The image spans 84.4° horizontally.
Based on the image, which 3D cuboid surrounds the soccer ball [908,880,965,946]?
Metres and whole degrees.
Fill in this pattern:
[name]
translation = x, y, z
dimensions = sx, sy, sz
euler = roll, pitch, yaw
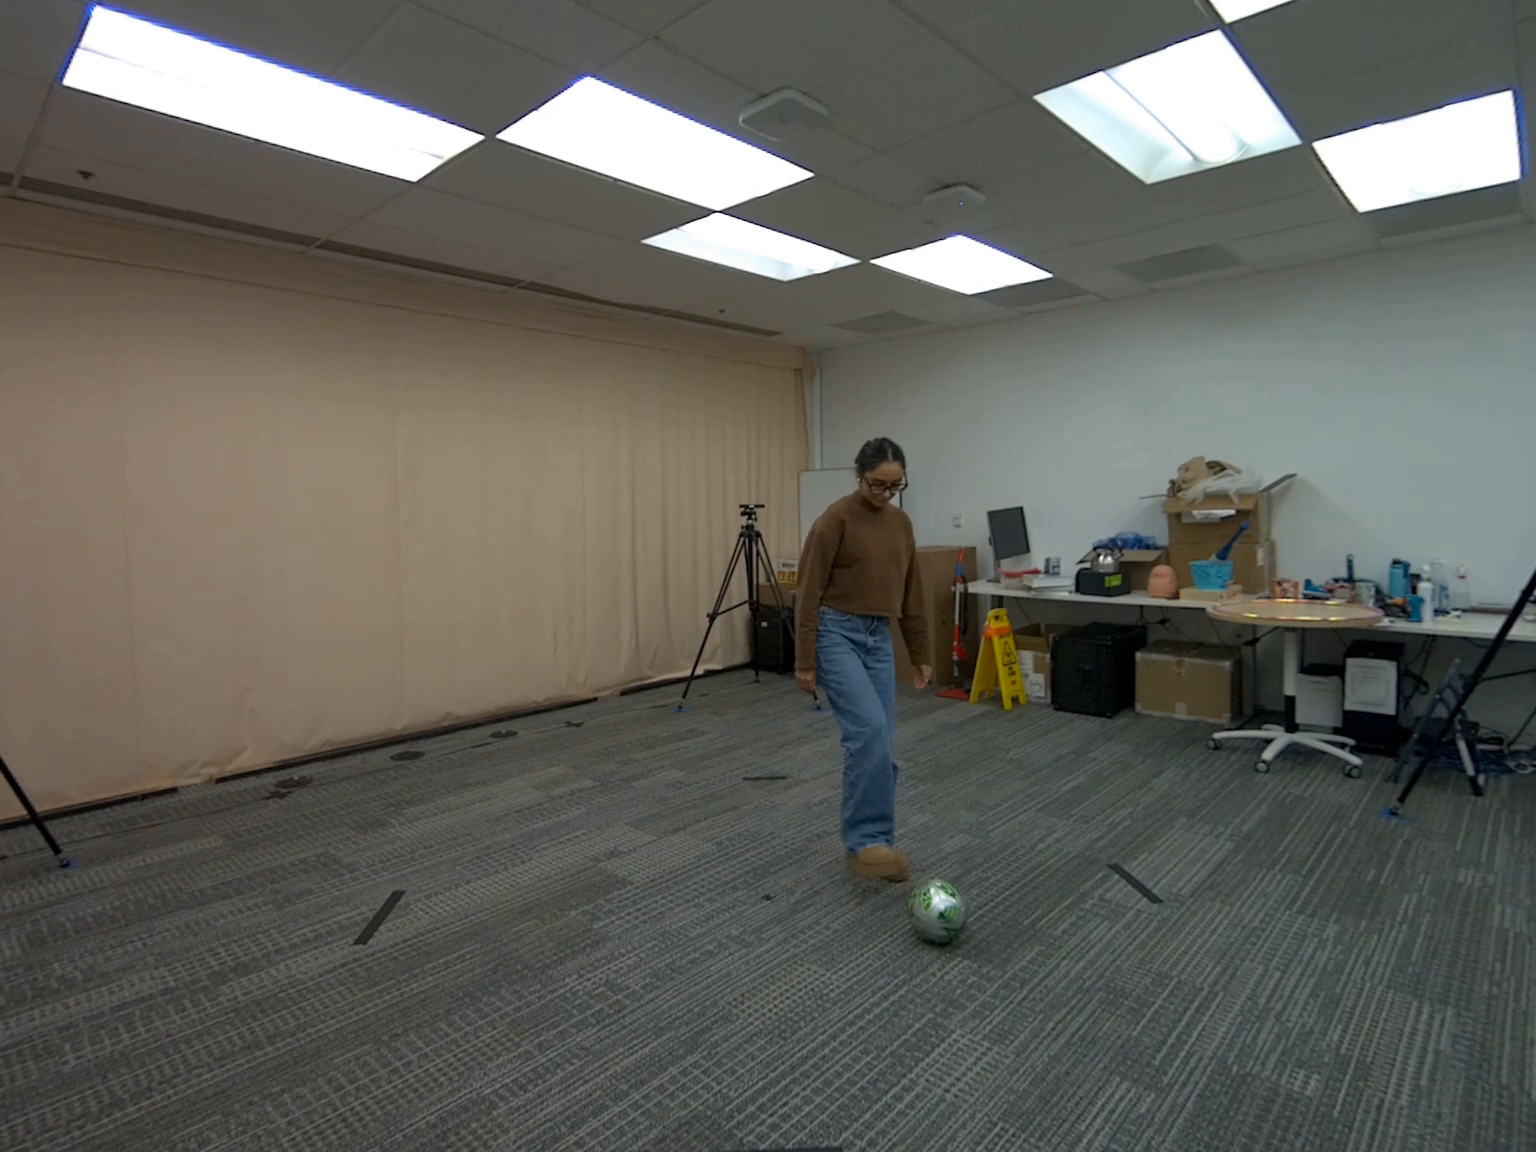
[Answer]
[soccer ball]
translation = 0.532, 1.055, 2.673
dimensions = 0.187, 0.187, 0.188
euler = -1, 4, -2
